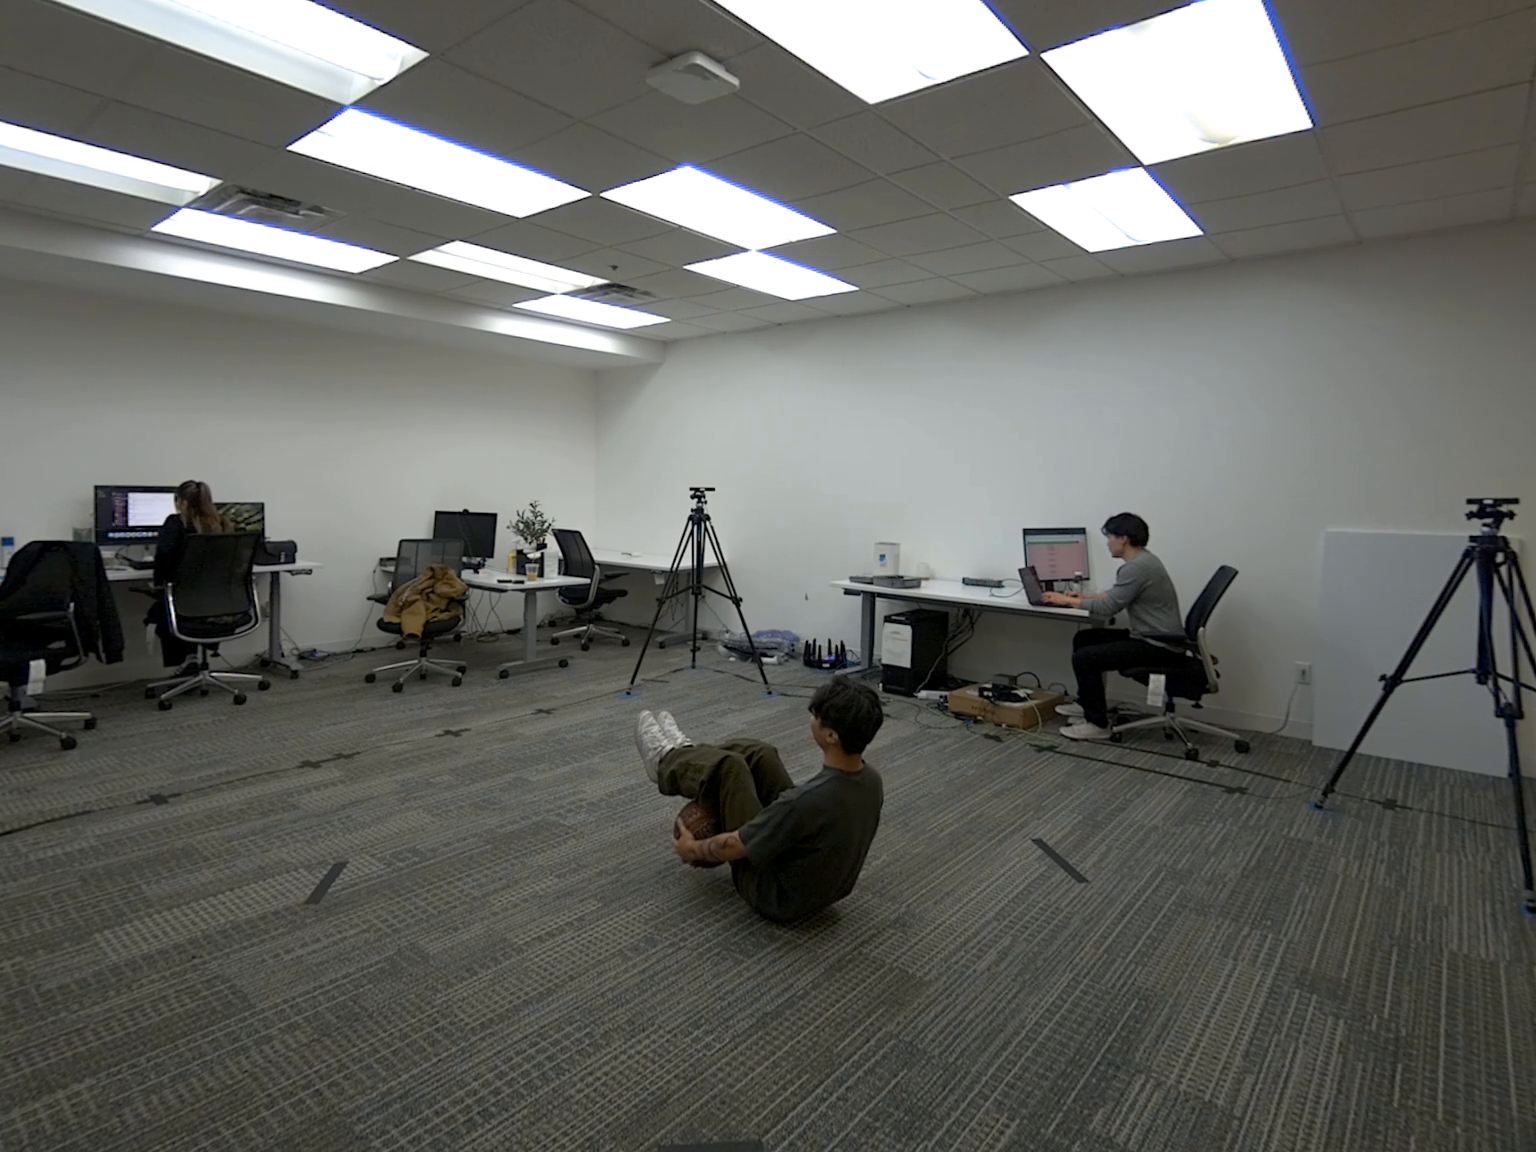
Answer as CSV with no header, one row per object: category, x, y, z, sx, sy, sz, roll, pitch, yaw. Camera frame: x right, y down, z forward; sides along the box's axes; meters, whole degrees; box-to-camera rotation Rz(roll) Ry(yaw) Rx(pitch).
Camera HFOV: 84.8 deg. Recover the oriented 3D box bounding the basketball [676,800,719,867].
basketball,-0.210,0.892,3.021,0.235,0.235,0.237,1,4,-2
